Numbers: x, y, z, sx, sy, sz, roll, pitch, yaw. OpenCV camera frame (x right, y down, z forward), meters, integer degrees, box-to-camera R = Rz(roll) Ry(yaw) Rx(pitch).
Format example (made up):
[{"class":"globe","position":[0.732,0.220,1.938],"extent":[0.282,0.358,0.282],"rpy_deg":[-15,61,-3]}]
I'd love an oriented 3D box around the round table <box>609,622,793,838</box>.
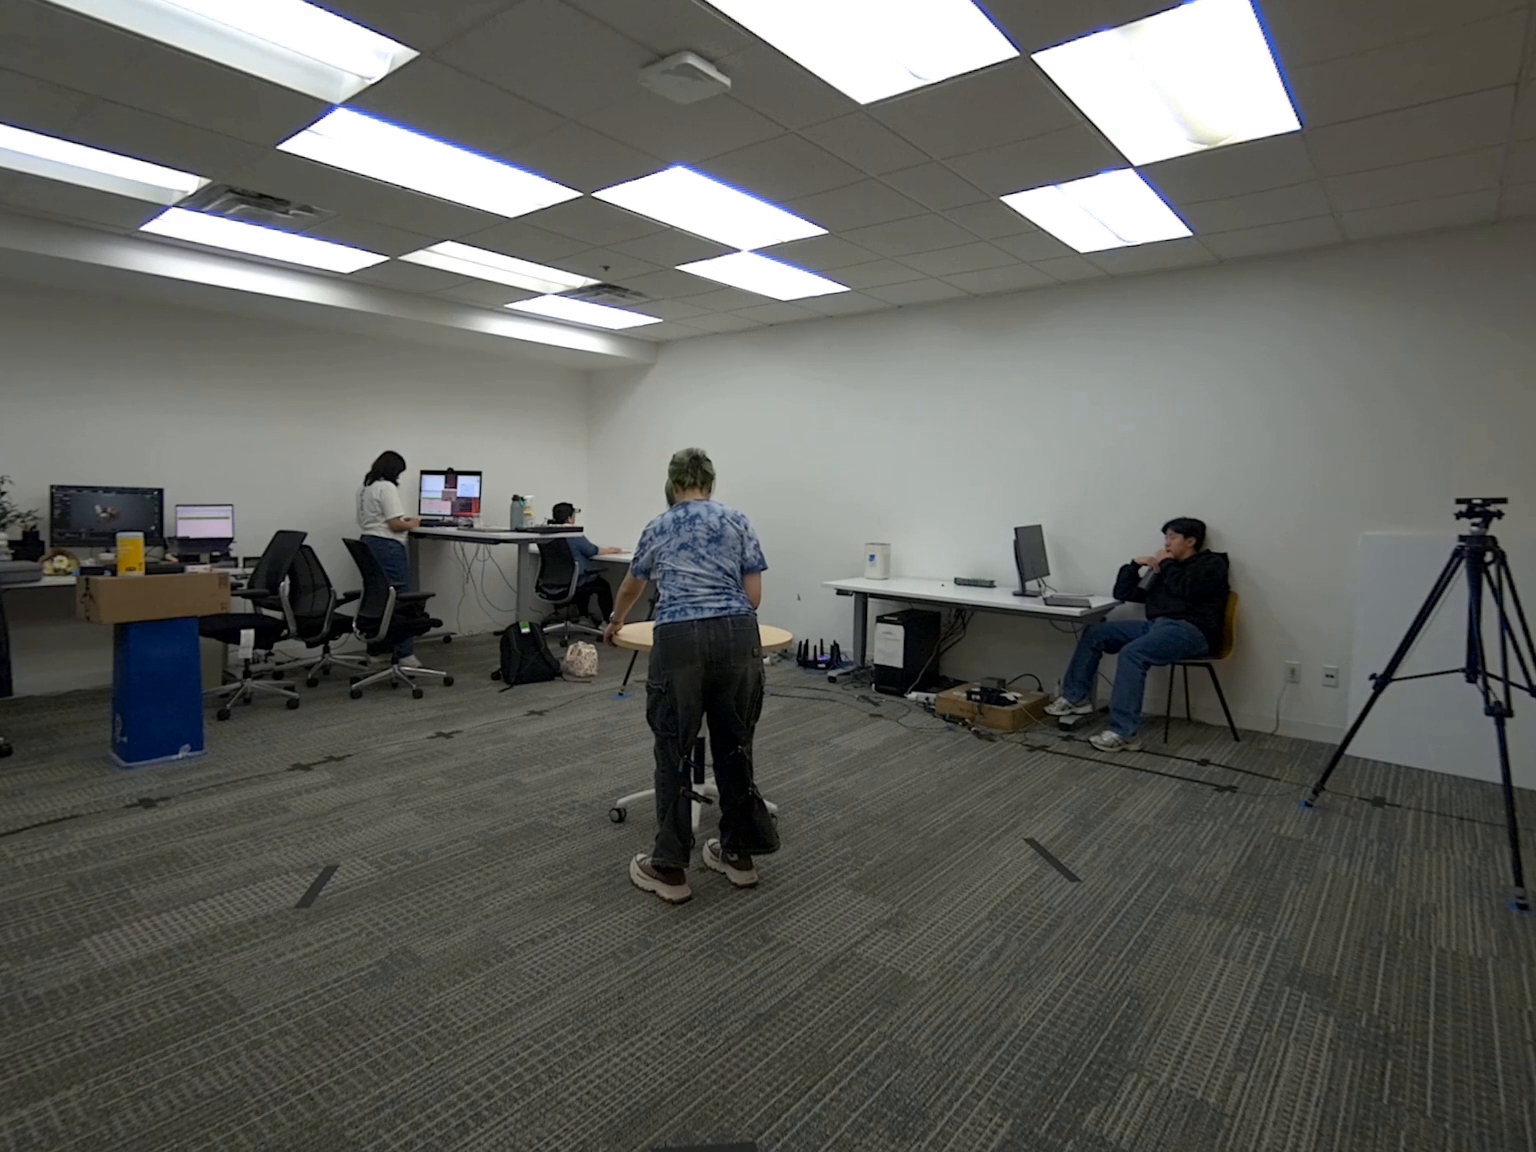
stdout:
[{"class":"round table","position":[-0.297,0.630,3.616],"extent":[0.763,0.792,0.767],"rpy_deg":[1,4,-2]}]
